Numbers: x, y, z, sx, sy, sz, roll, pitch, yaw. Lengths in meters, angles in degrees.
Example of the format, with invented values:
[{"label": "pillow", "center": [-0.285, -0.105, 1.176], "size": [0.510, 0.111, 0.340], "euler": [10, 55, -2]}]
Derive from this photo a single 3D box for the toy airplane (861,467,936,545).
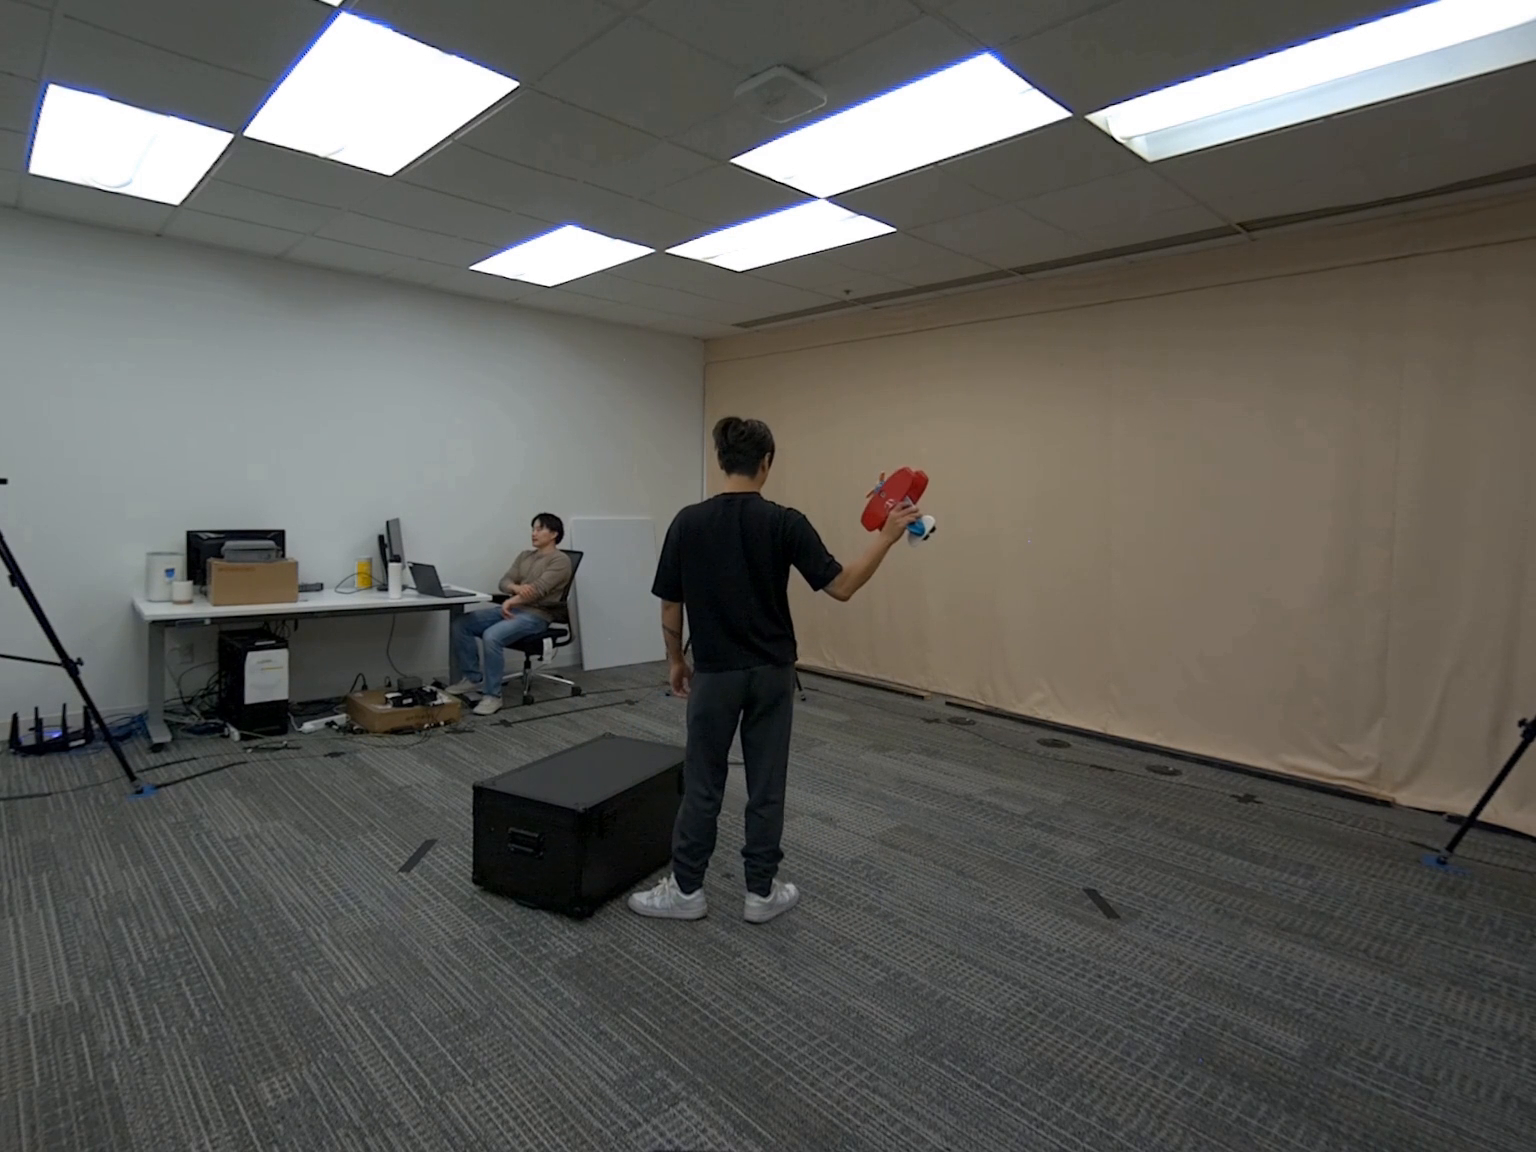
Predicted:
[{"label": "toy airplane", "center": [0.446, -0.240, 2.798], "size": [0.152, 0.250, 0.266], "euler": [16, 6, -33]}]
